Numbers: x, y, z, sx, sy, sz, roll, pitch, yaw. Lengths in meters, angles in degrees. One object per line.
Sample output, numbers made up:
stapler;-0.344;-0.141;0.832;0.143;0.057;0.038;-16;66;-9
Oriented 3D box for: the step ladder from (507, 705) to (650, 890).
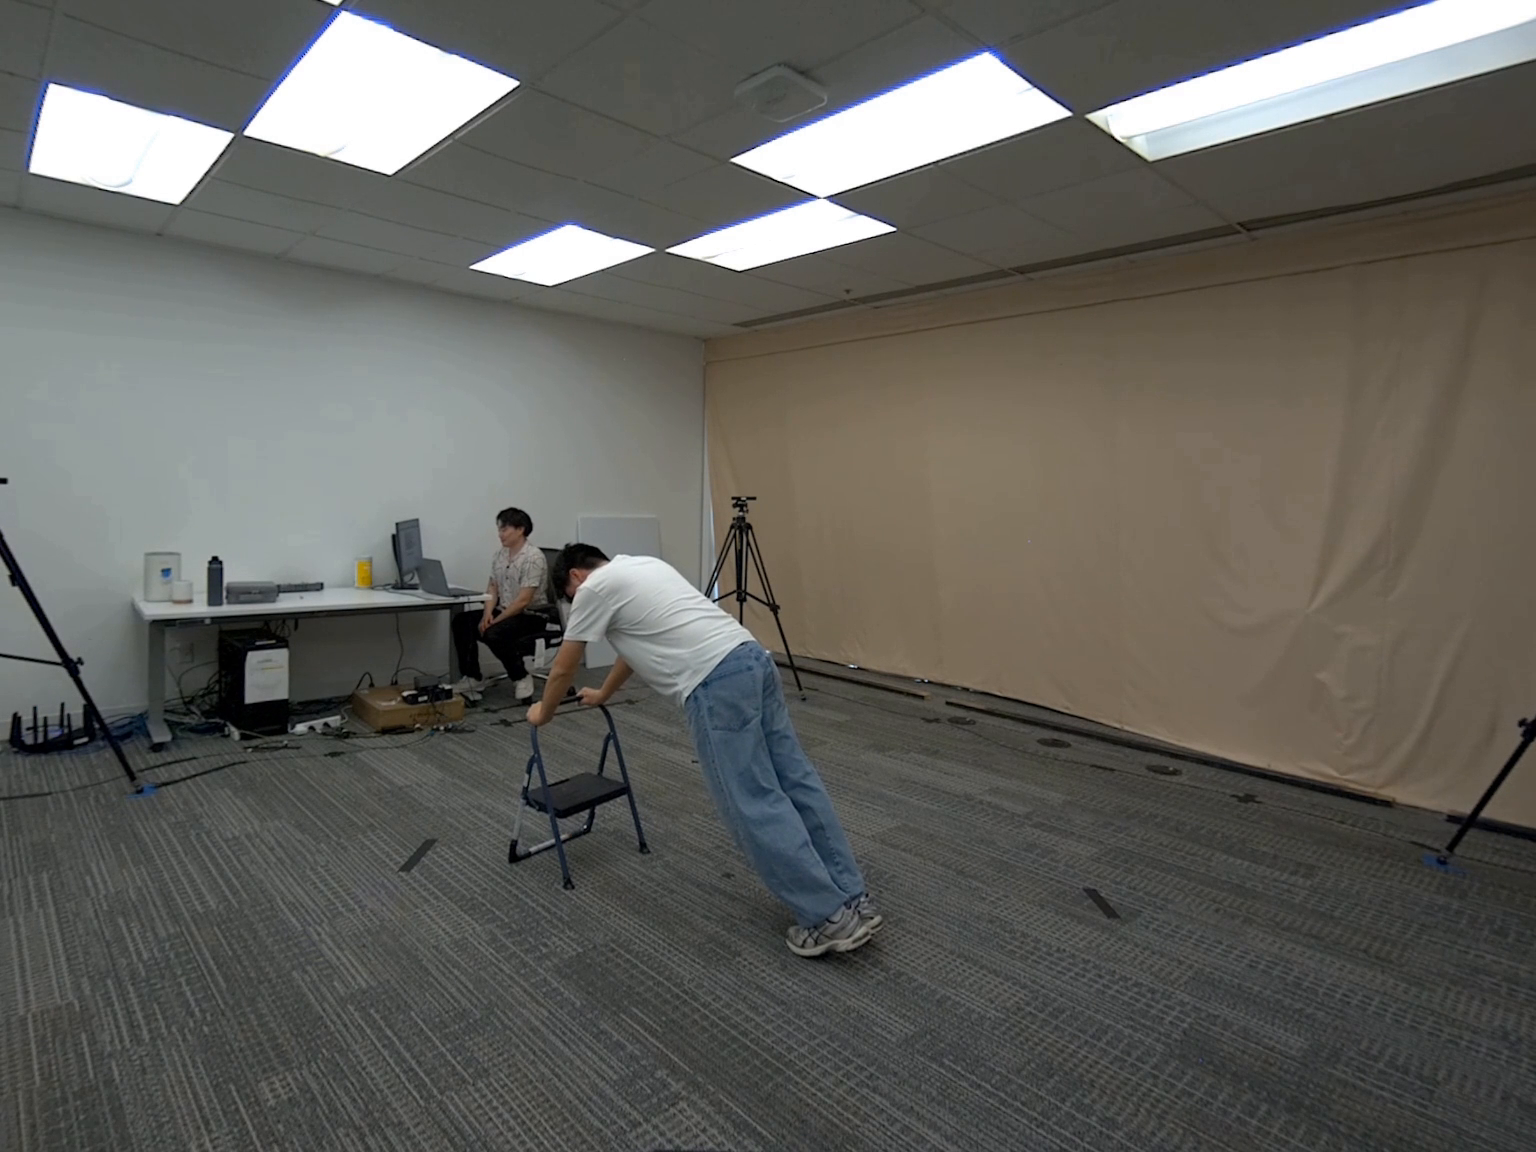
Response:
step ladder;-0.727;0.778;3.223;0.357;0.605;0.421;3;4;34
